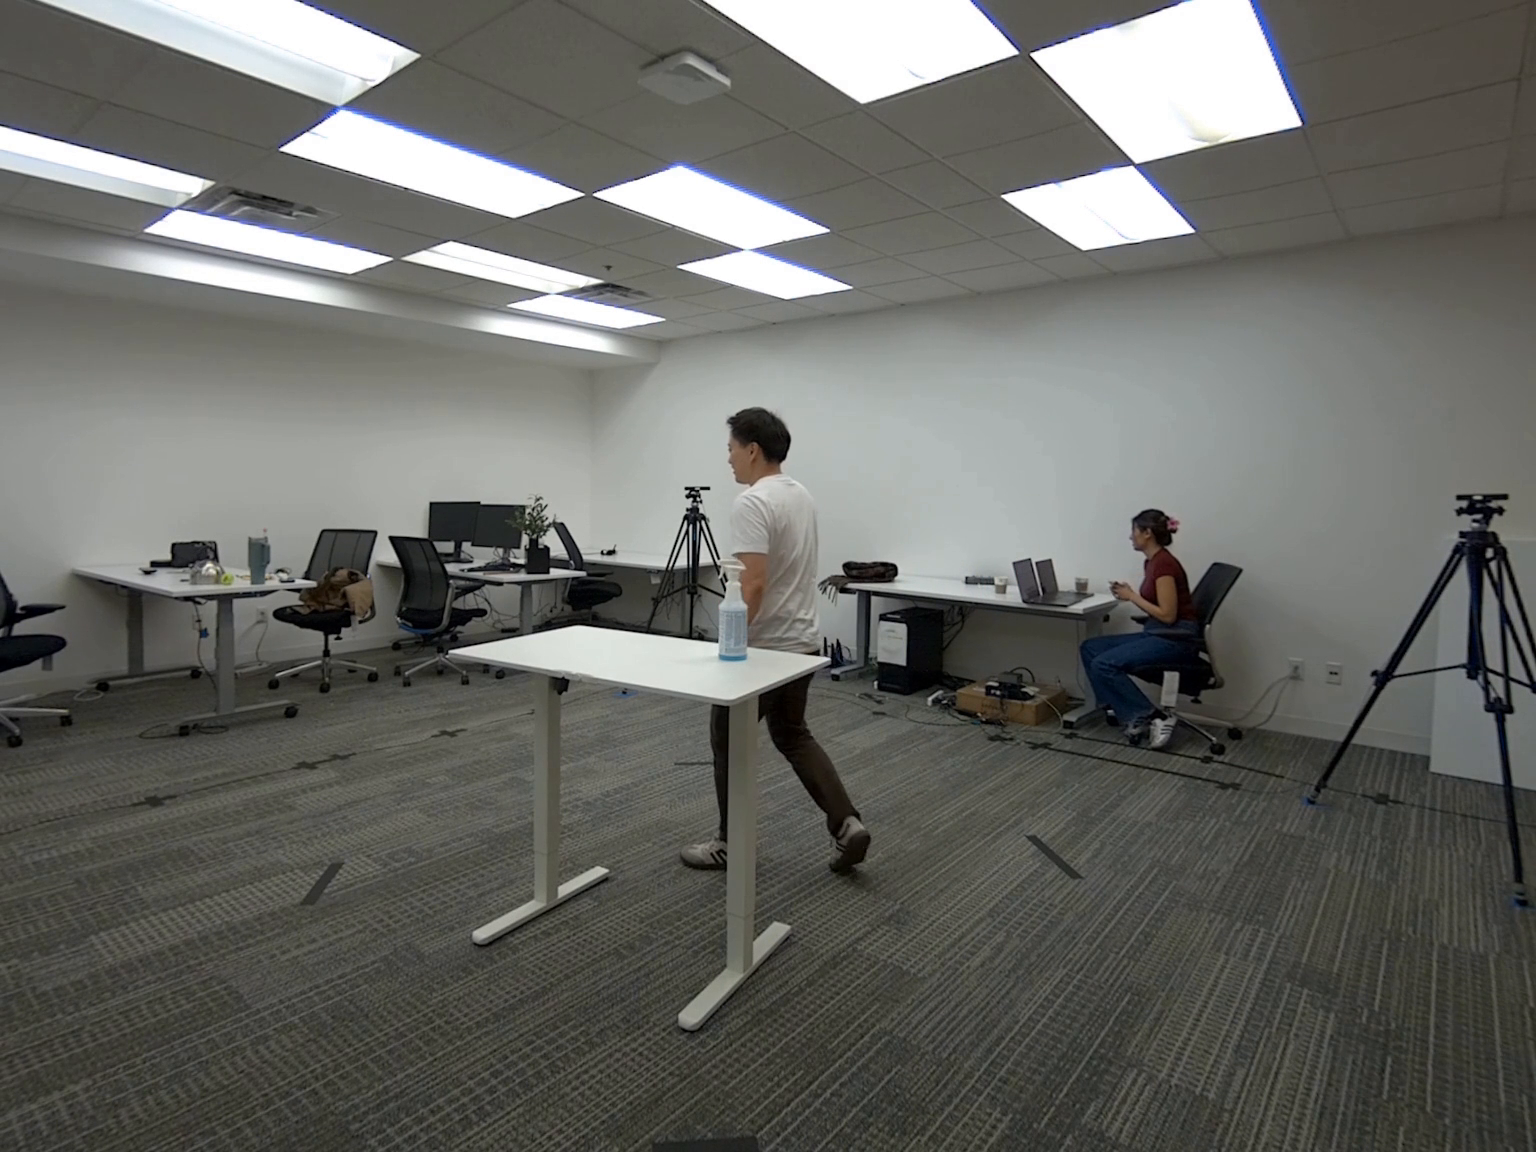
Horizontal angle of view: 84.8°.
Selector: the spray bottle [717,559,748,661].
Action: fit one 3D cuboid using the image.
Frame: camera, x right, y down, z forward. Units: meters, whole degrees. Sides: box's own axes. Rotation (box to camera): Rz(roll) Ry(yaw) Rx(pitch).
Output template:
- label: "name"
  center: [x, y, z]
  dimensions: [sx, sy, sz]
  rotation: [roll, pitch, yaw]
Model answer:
- label: "spray bottle"
  center: [-0.113, 0.099, 2.529]
  dimensions: [0.090, 0.296, 0.087]
  rotation: [0, 3, -2]
